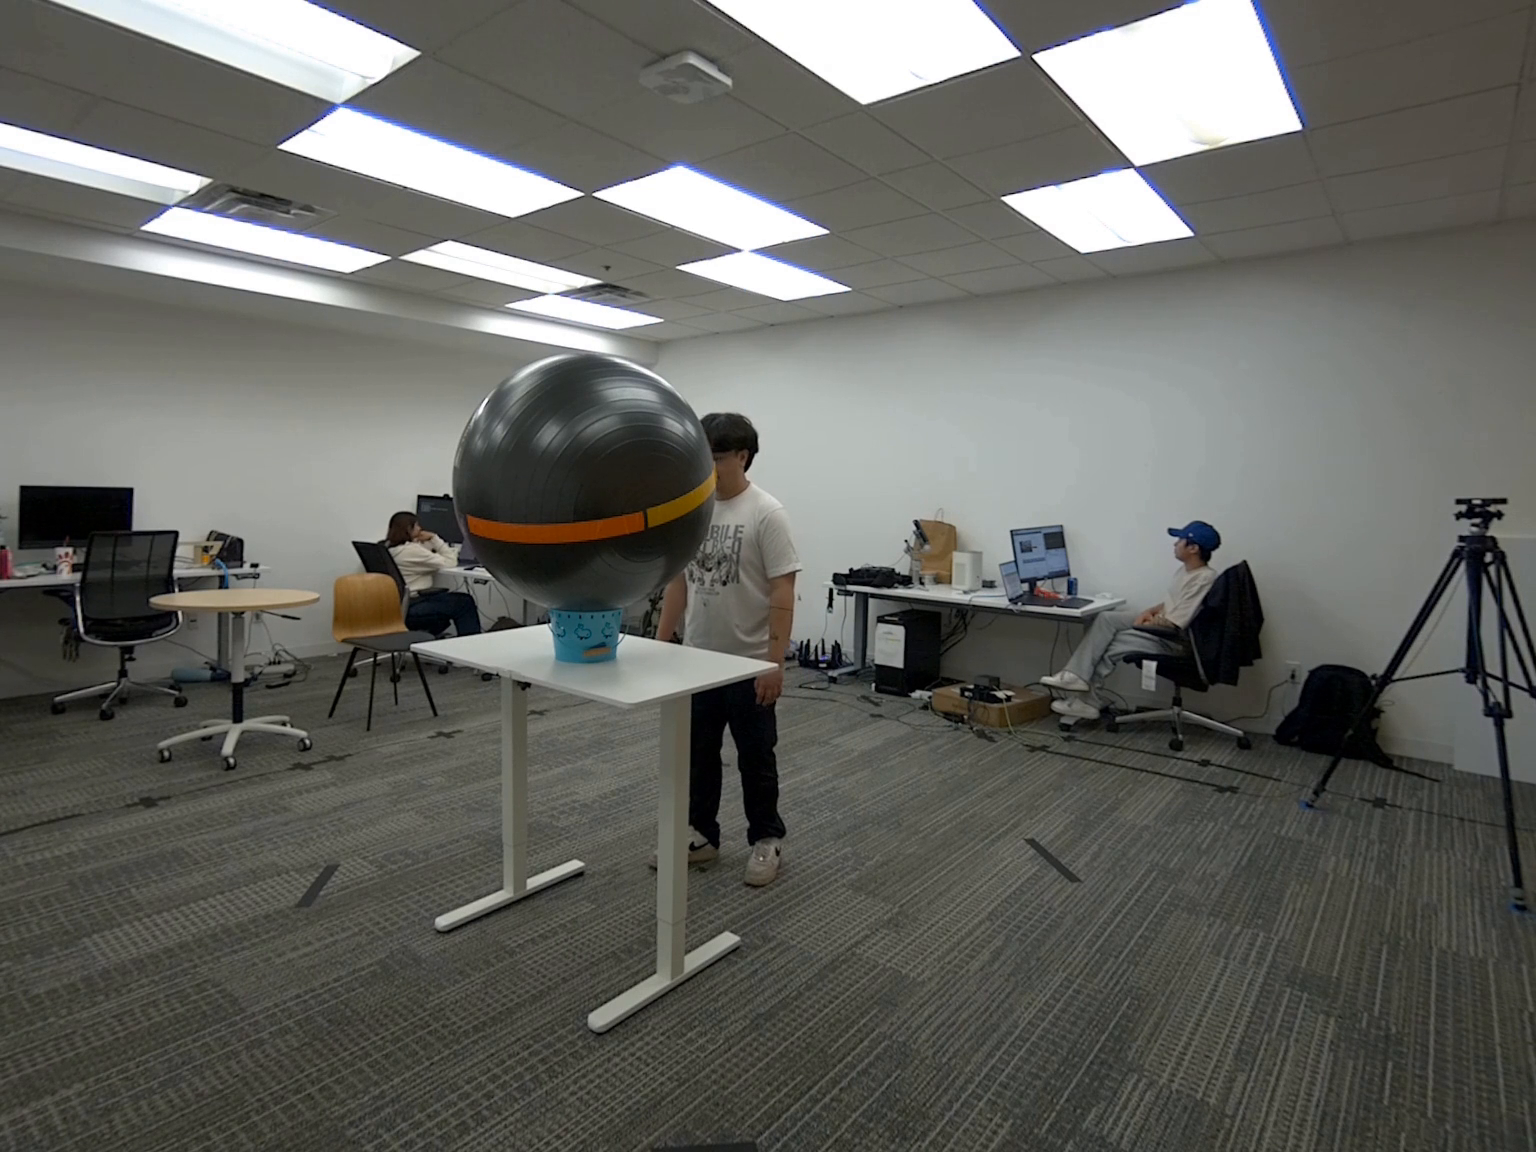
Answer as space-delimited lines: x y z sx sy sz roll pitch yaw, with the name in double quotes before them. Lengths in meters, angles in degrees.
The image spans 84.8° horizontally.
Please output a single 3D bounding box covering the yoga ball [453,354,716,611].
"yoga ball" -0.542 -0.262 2.498 0.757 0.755 0.762 1 4 -2
